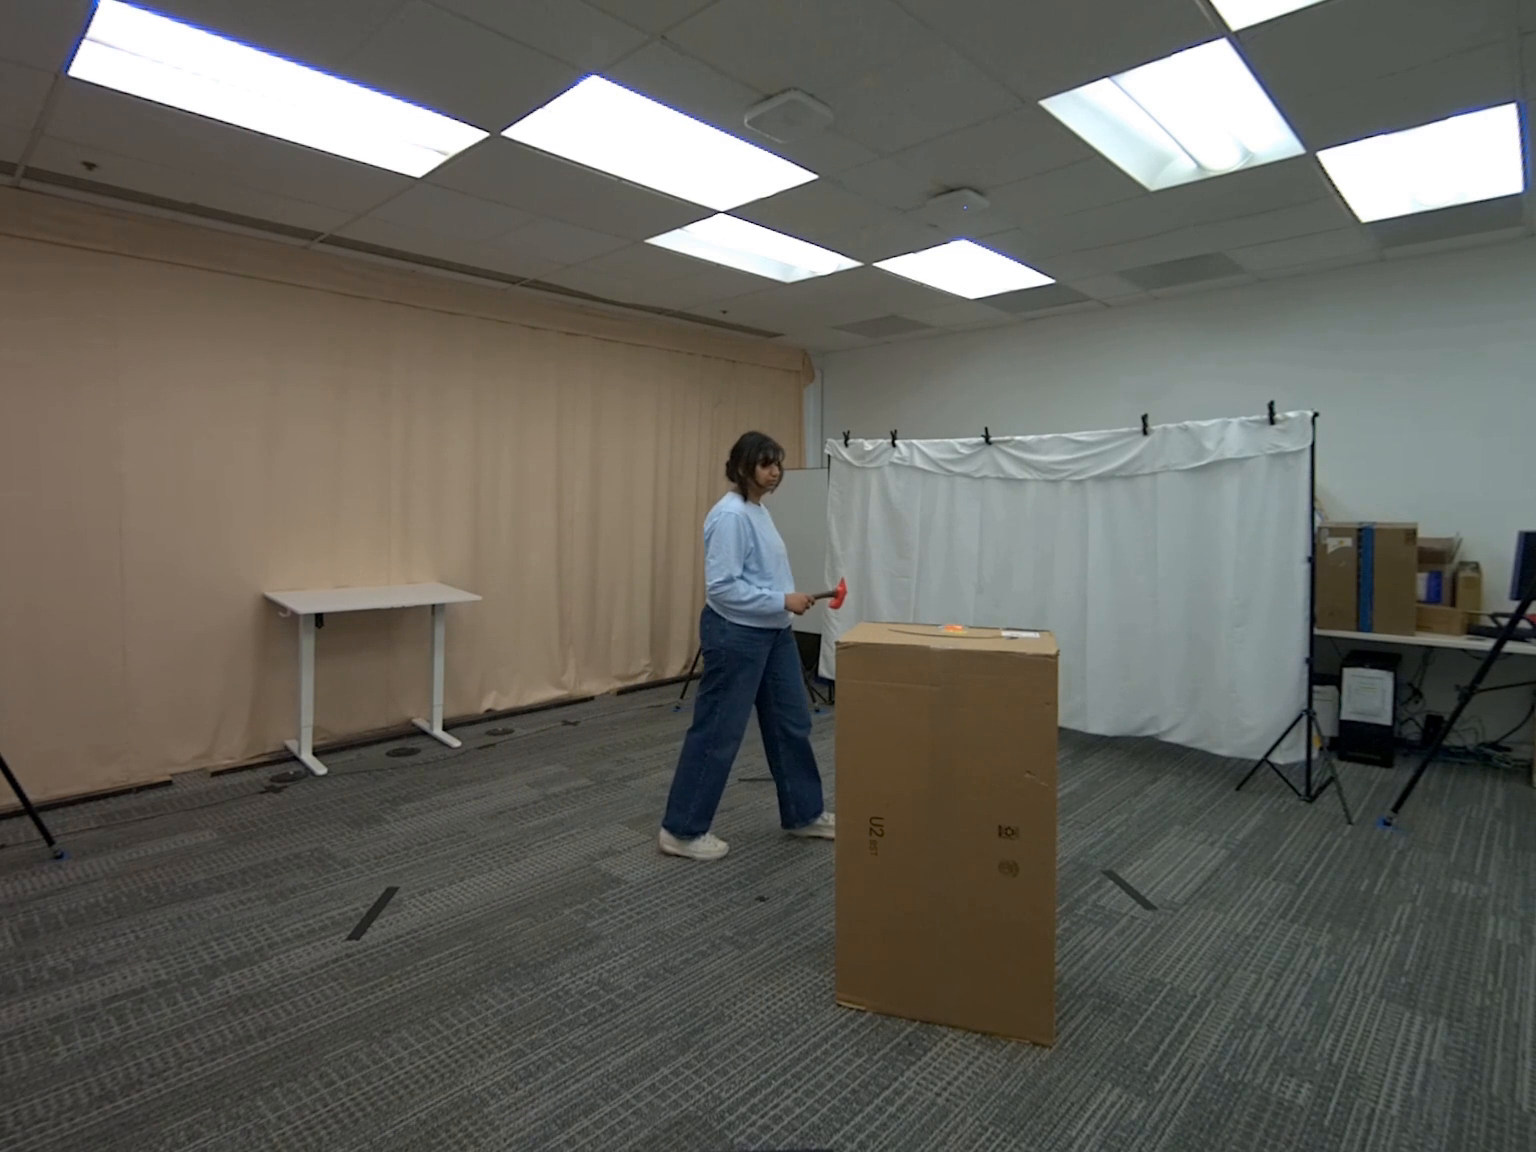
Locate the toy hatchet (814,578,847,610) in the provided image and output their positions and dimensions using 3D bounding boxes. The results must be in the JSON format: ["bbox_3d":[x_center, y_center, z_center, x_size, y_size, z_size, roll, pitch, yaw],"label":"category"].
[{"bbox_3d":[0.202,0.107,3.309,0.267,0.128,0.030,-25,34,-18],"label":"toy hatchet"}]
